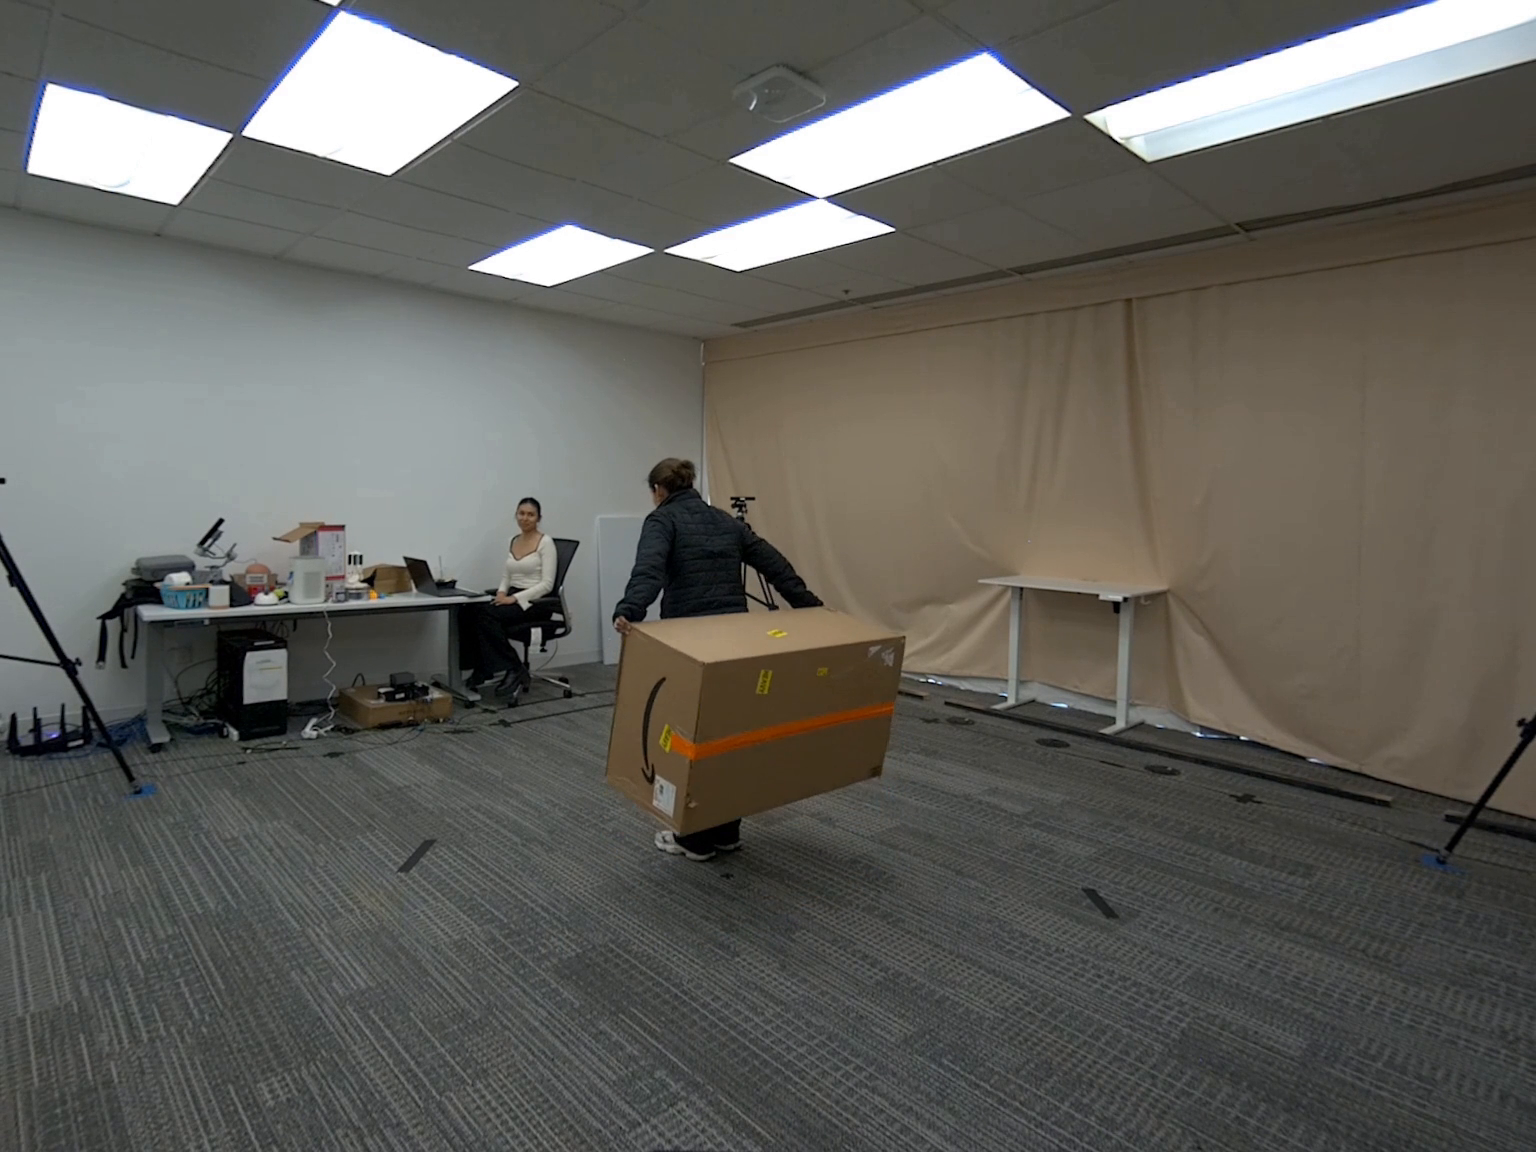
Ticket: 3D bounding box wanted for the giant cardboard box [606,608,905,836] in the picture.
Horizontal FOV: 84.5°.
[{"bbox_3d":[-0.017,0.475,3.040,1.002,0.574,0.439,-2,13,-44],"label":"giant cardboard box"}]
